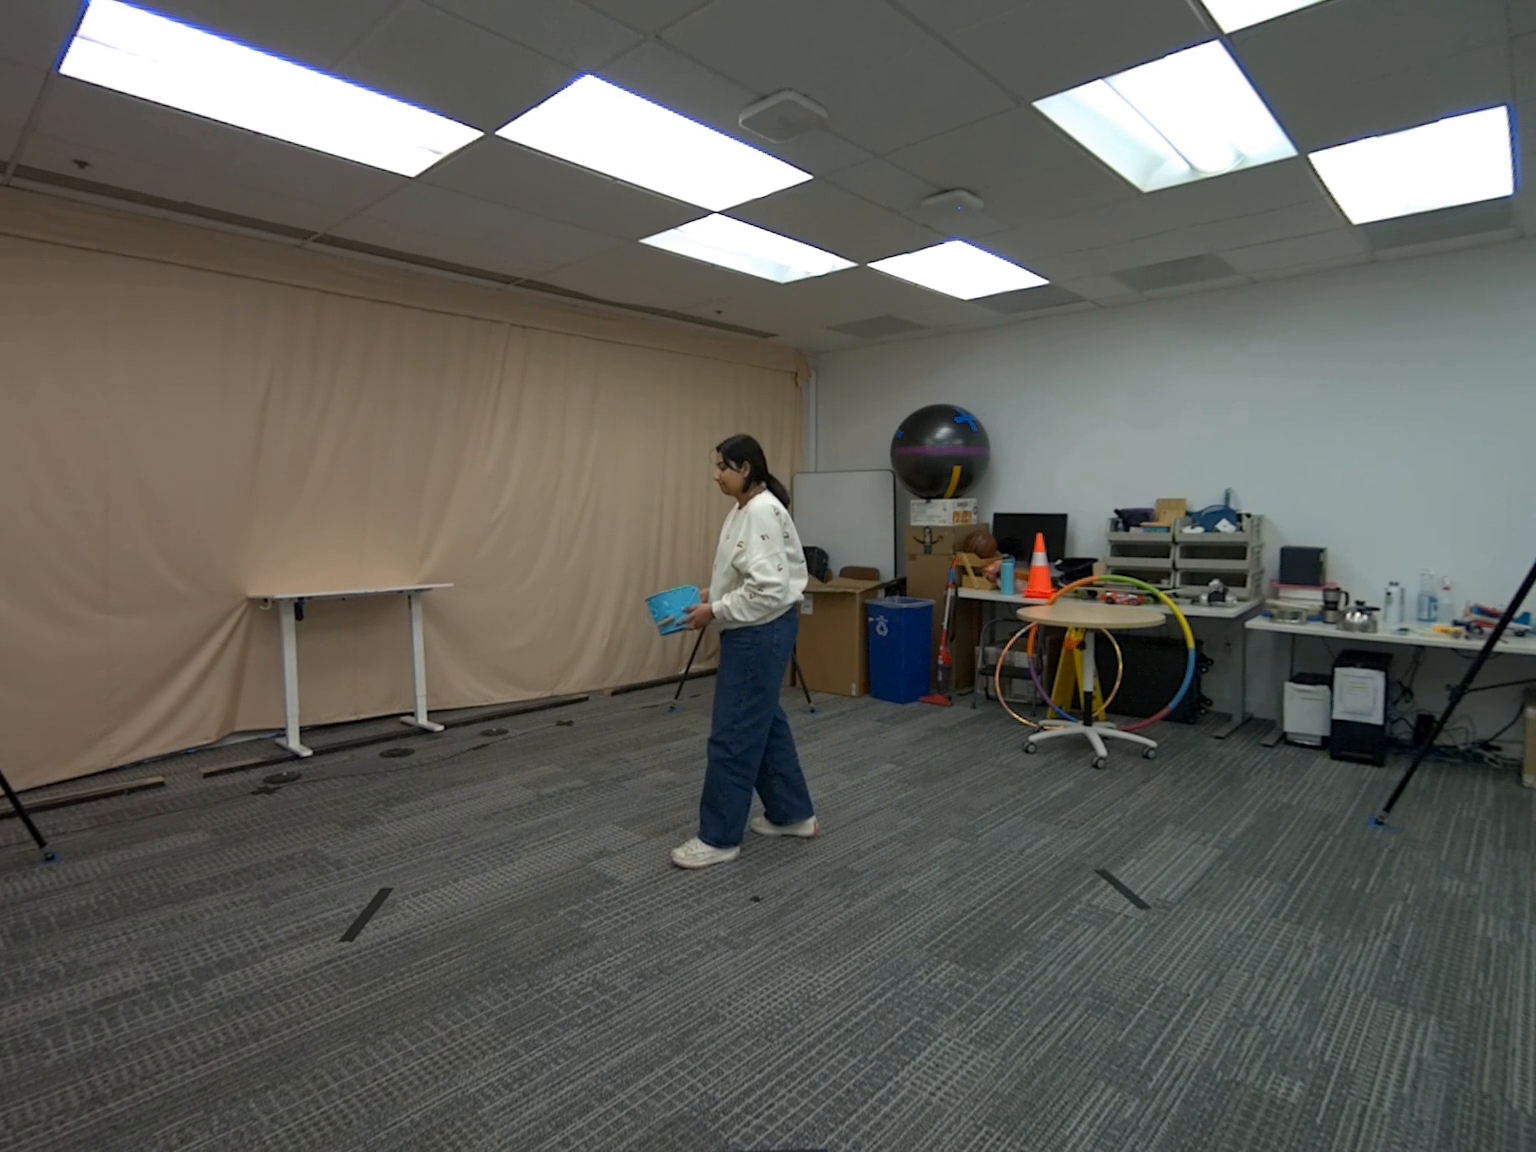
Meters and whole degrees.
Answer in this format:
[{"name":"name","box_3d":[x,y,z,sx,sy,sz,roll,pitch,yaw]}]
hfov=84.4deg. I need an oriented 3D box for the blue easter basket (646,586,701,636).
[{"name":"blue easter basket","box_3d":[-0.364,0.143,3.393,0.243,0.157,0.242,-12,-11,-4]}]
